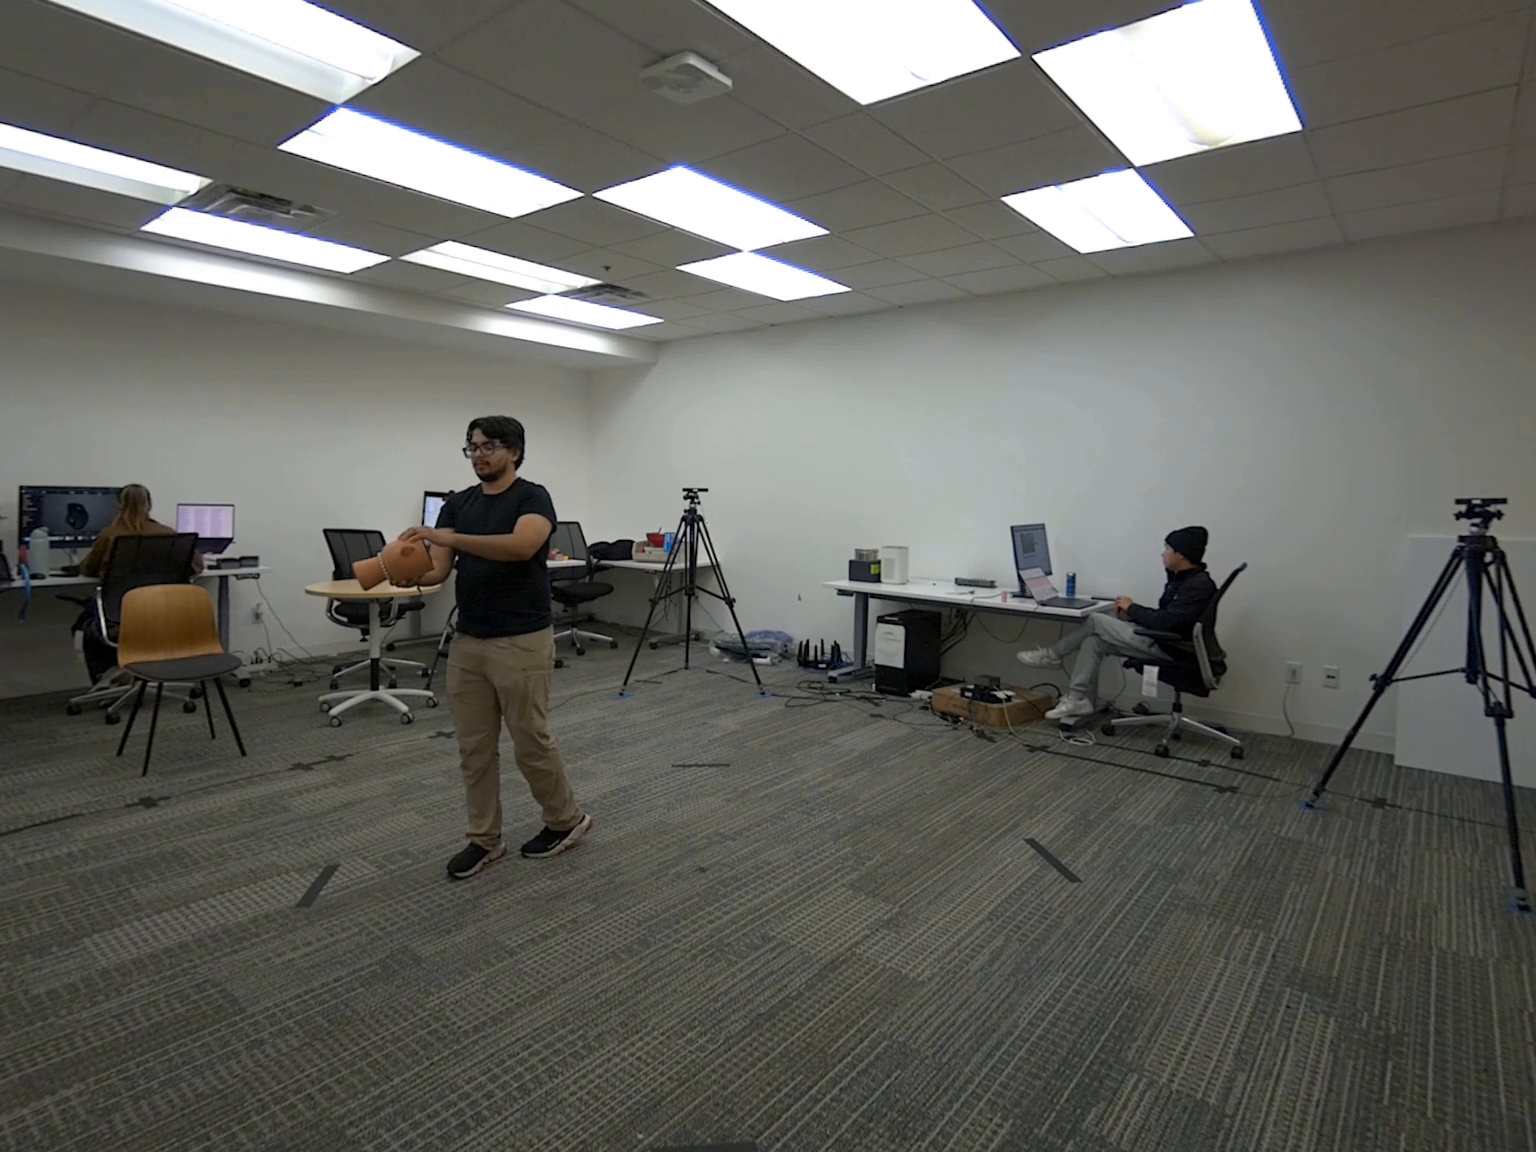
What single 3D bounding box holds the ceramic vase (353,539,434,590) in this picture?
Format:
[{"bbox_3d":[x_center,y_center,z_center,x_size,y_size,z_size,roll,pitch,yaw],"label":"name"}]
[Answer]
[{"bbox_3d":[-1.204,-0.043,2.700,0.218,0.154,0.140,-22,37,-14],"label":"ceramic vase"}]
